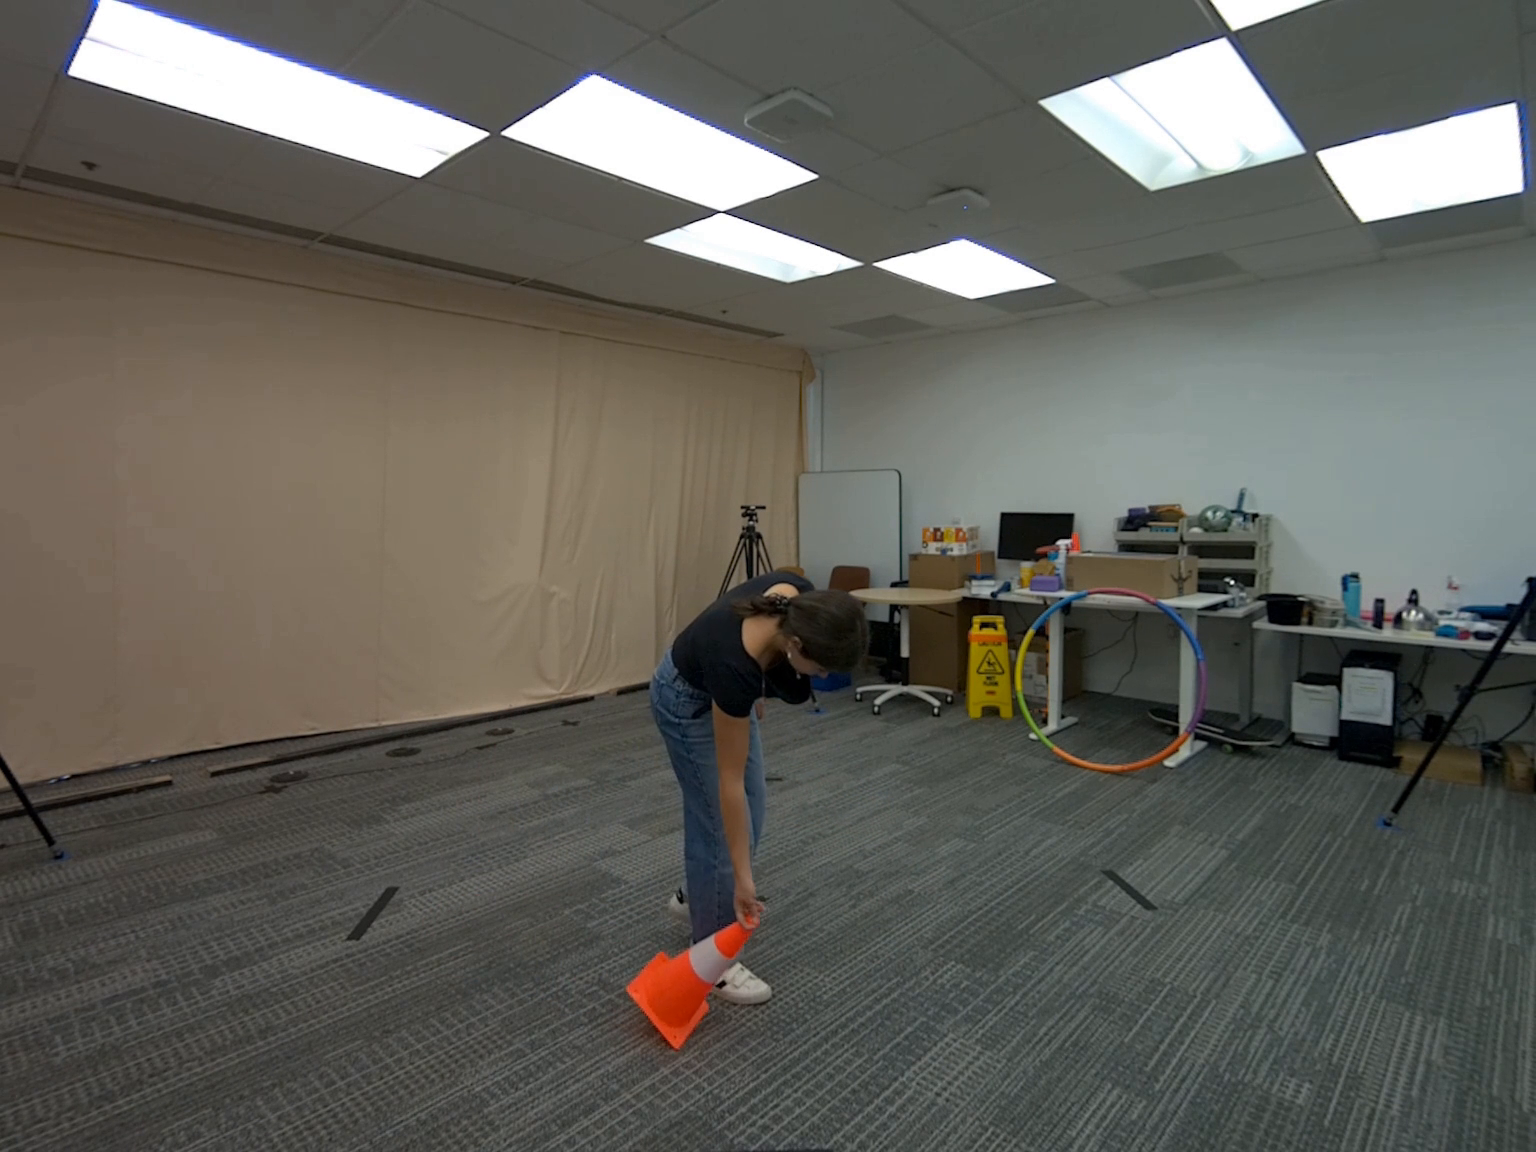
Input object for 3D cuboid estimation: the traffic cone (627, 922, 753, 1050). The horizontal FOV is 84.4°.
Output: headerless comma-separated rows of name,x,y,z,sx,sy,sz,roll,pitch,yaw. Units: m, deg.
traffic cone,-0.155,1.002,2.205,0.208,0.385,0.200,43,20,10
